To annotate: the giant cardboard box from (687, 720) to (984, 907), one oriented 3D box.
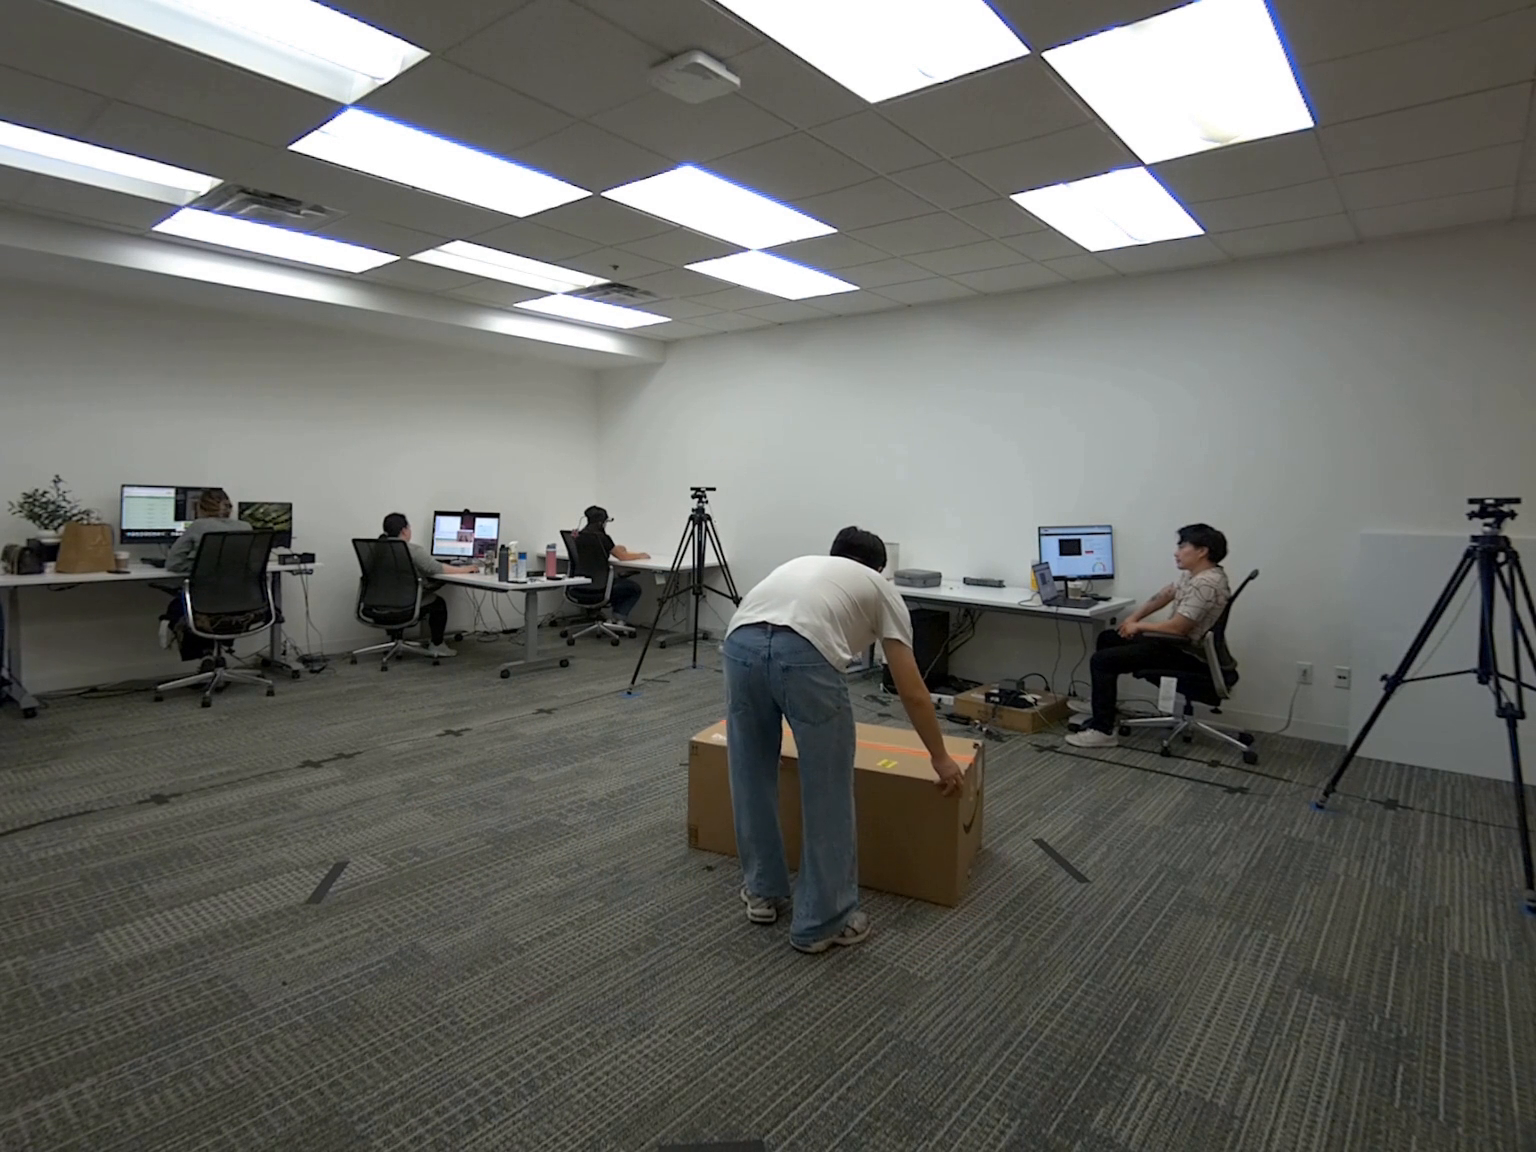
[{"bbox_3d":[0.258,0.841,3.320,1.053,0.424,0.565,4,7,25],"label":"giant cardboard box"}]
